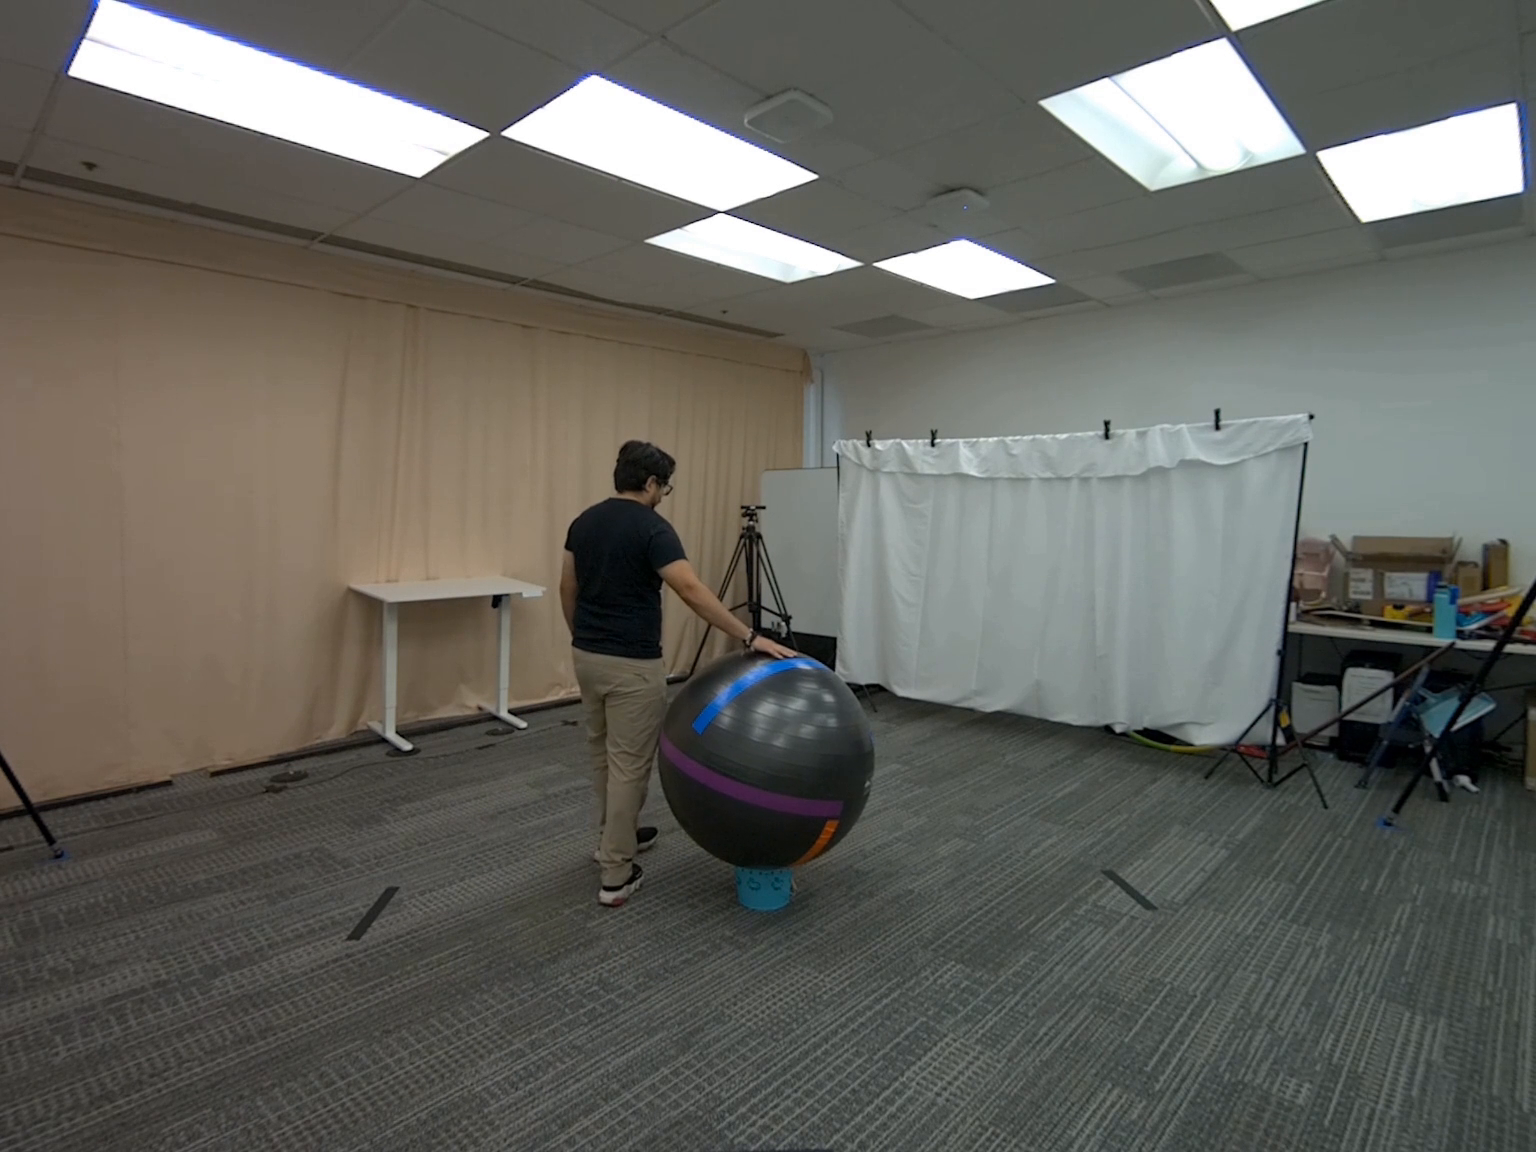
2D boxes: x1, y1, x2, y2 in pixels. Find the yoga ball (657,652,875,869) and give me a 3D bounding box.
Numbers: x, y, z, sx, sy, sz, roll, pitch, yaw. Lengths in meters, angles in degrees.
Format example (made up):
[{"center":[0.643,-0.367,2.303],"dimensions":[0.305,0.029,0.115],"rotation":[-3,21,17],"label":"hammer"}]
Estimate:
[{"center":[0.002,0.637,2.964],"dimensions":[0.757,0.756,0.760],"rotation":[0,4,-2],"label":"yoga ball"}]
